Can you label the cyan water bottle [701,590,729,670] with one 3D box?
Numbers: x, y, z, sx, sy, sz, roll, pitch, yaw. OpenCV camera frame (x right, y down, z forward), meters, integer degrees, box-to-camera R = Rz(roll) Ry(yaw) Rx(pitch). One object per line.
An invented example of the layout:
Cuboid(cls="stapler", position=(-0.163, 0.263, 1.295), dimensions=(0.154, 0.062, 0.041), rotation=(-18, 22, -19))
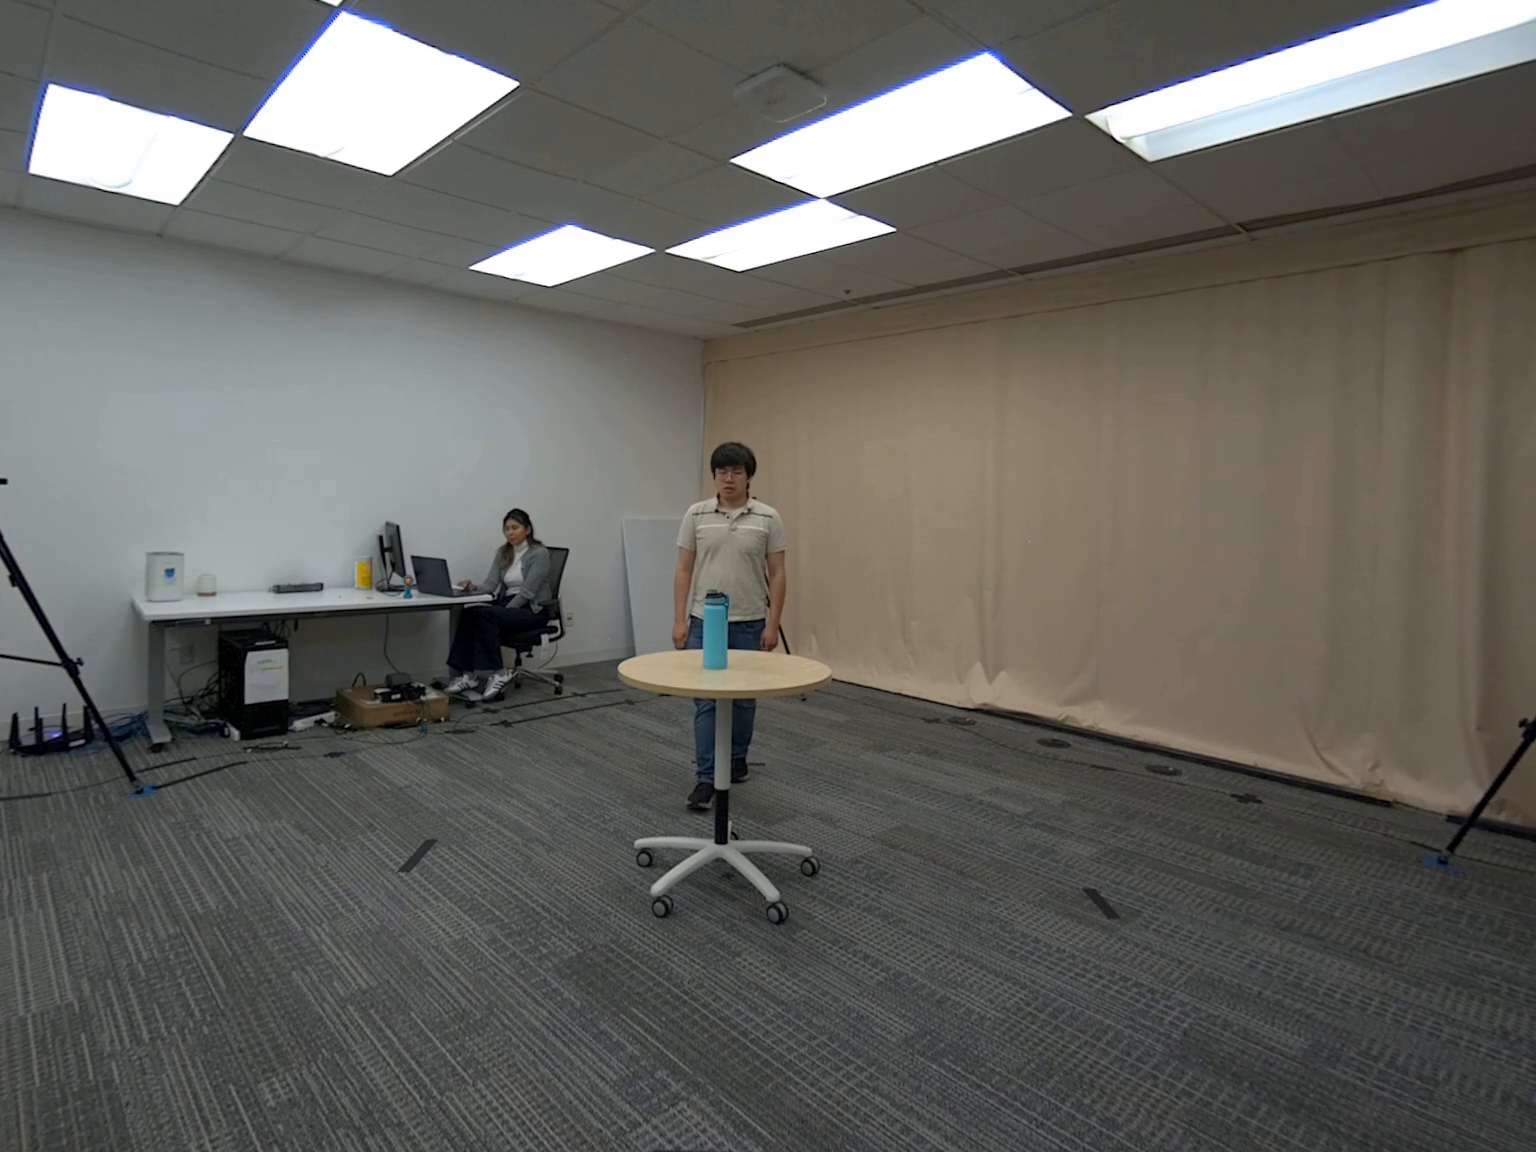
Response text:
Cuboid(cls="cyan water bottle", position=(-0.194, 0.190, 3.023), dimensions=(0.092, 0.283, 0.092), rotation=(3, 1, -1))
